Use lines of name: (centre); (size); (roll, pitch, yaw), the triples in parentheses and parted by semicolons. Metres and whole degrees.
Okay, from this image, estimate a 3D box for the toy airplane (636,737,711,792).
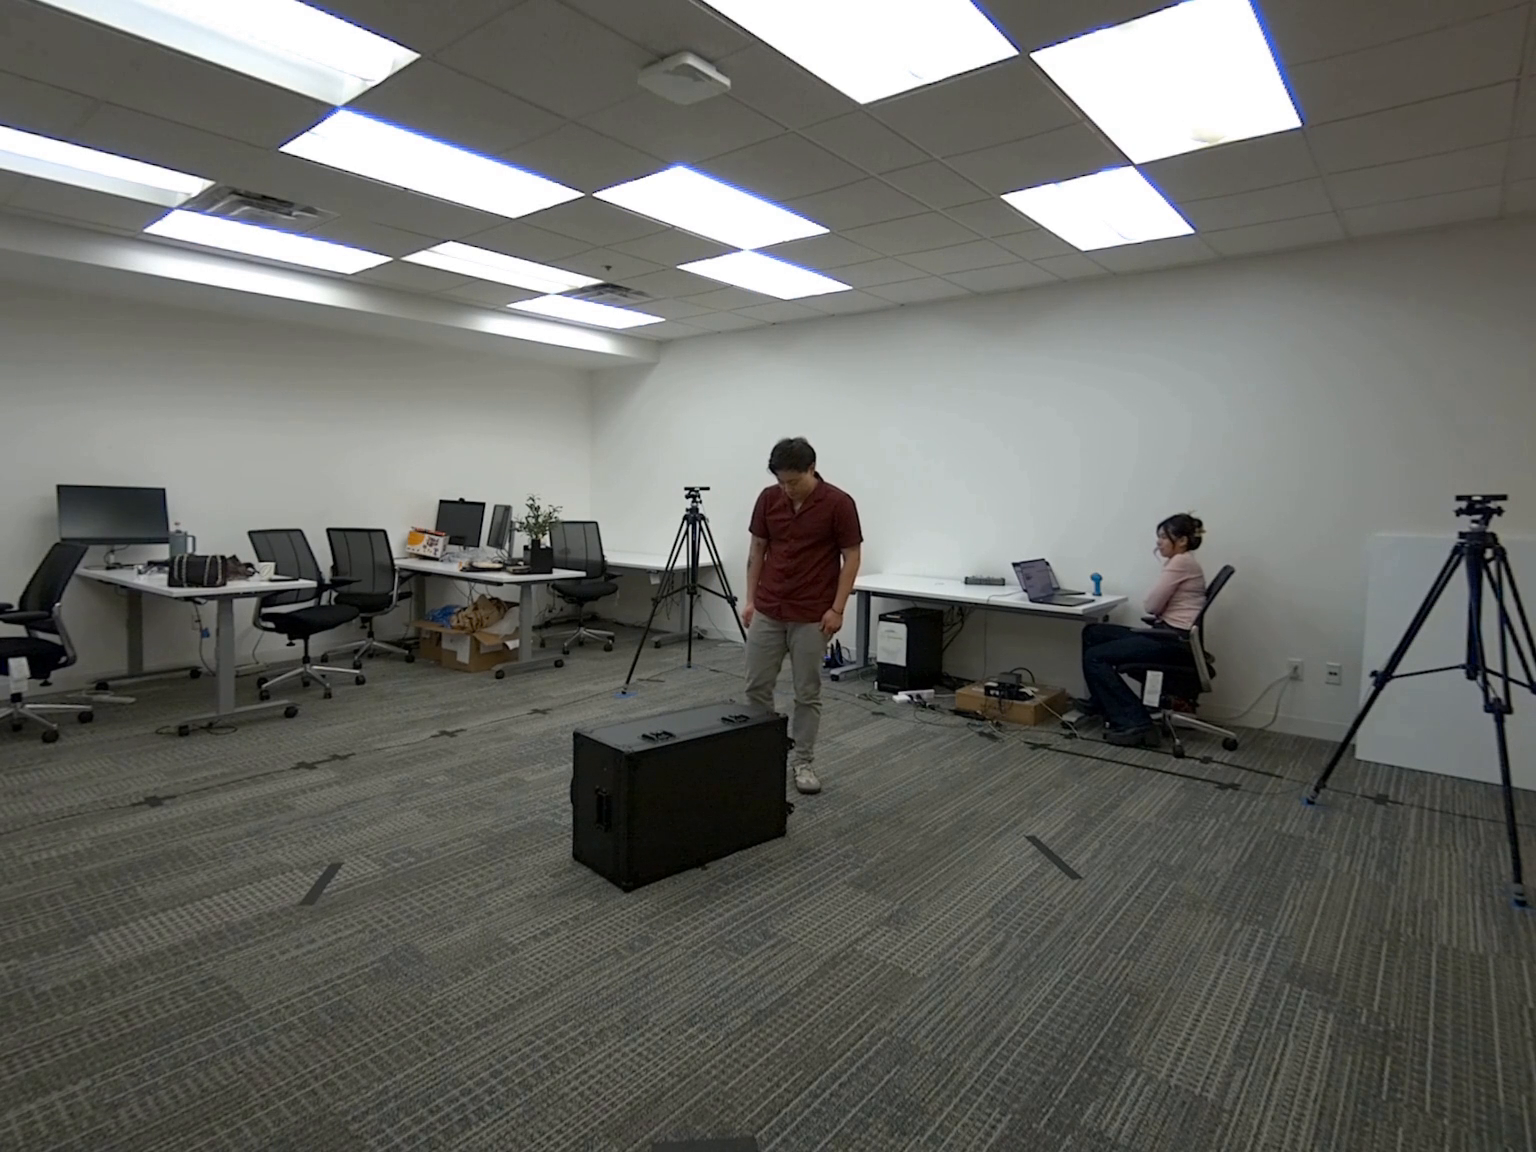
toy airplane: (-0.450, 0.891, 4.012); (0.266, 0.156, 0.245); (1, 4, 26)
